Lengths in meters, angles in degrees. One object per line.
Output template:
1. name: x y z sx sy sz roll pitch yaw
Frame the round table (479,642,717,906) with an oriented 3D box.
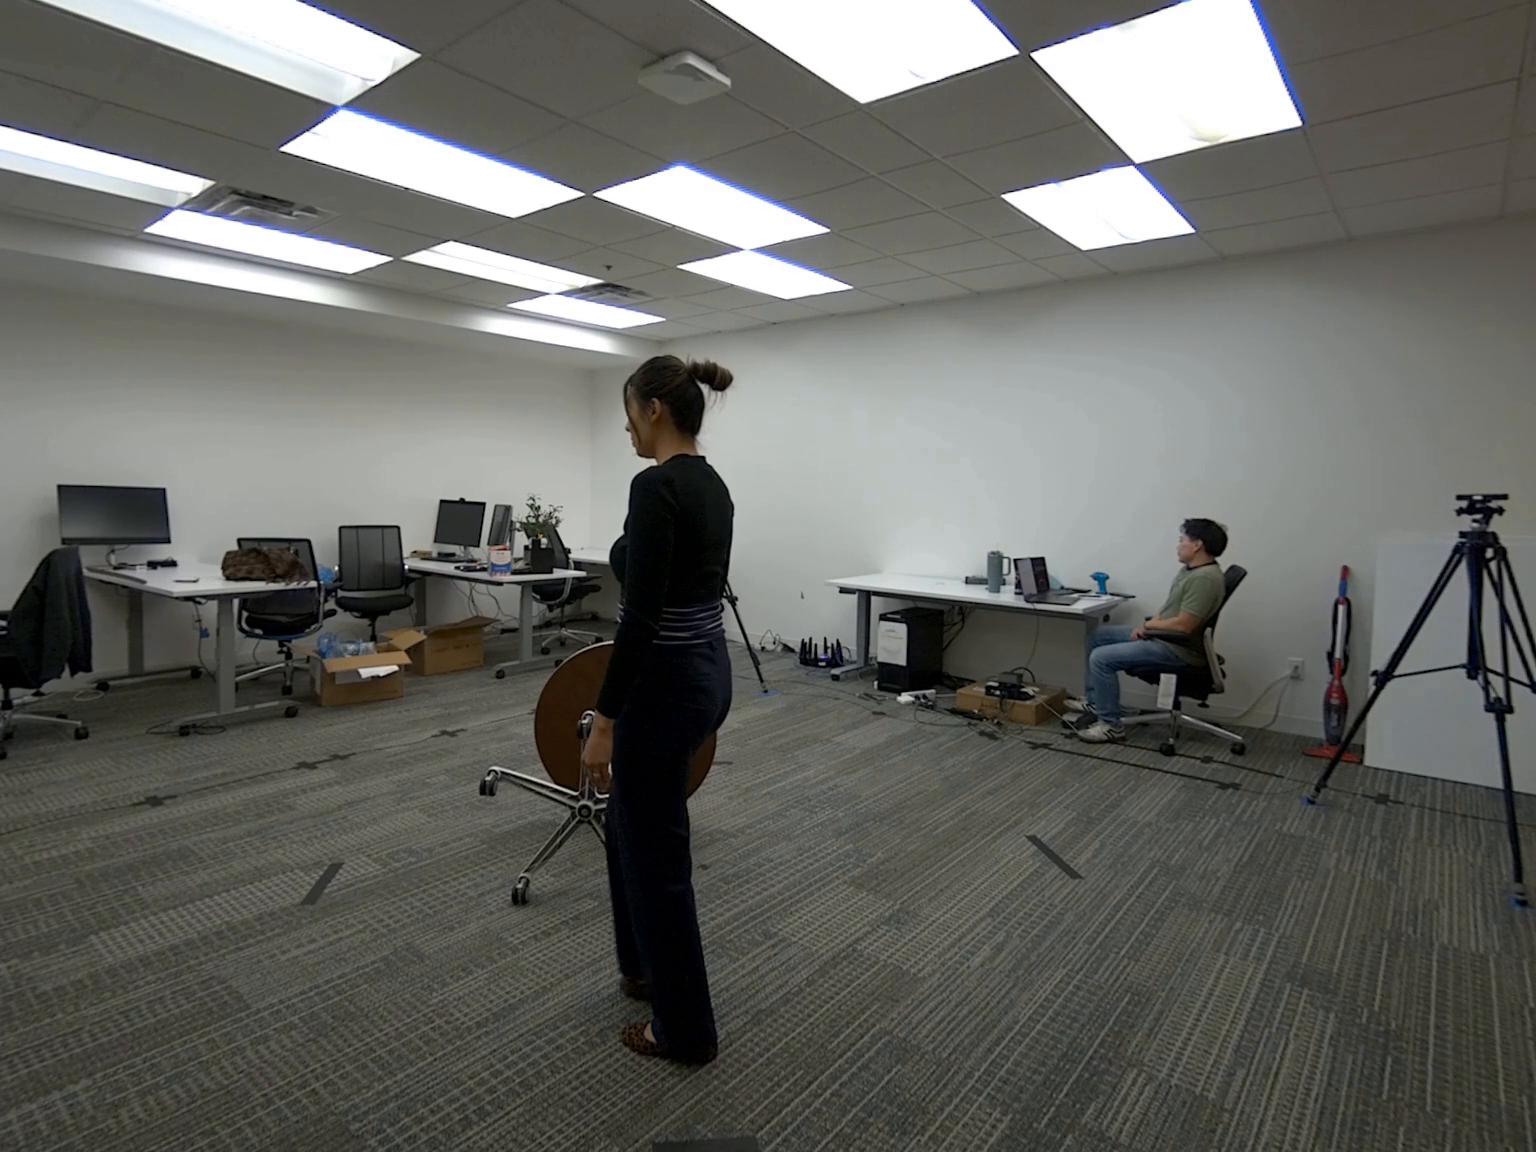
1. round table: -0.612 0.713 3.129 0.768 0.757 0.798 1 11 3
